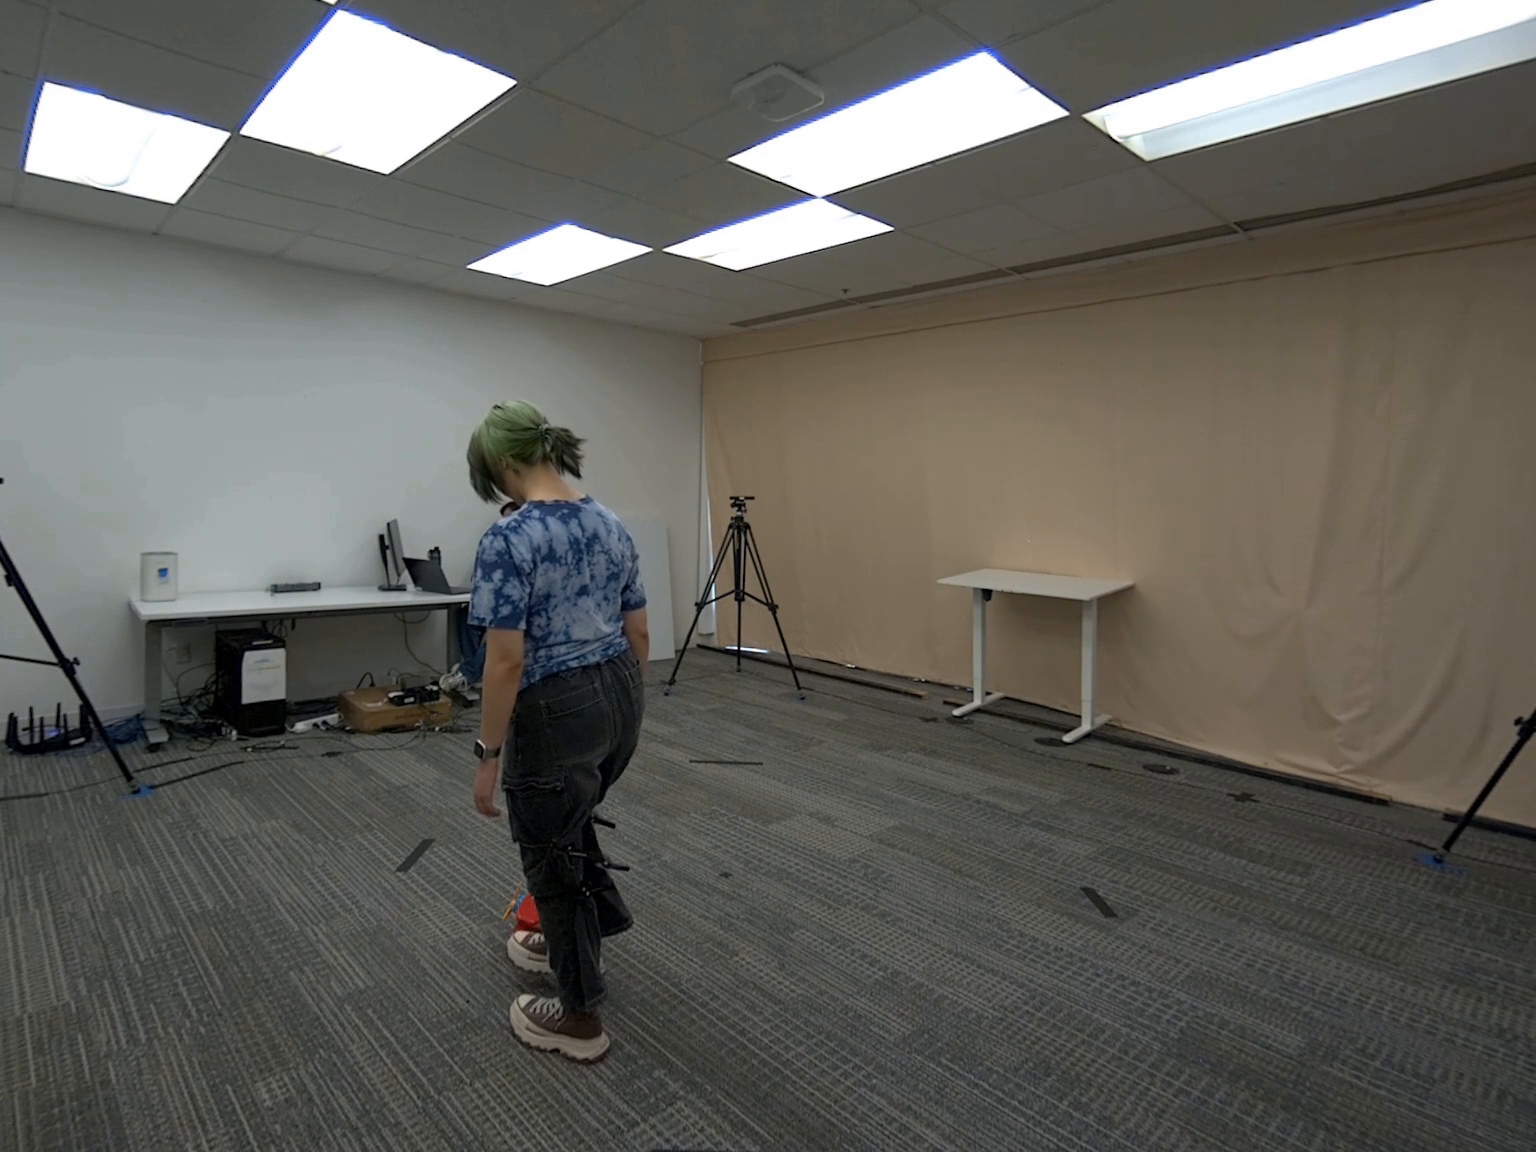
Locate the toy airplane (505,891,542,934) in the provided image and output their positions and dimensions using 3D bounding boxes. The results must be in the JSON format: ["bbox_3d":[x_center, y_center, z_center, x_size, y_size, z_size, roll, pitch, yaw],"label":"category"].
[{"bbox_3d":[-0.677,1.070,2.594,0.255,0.156,0.256,-2,6,-23],"label":"toy airplane"}]
